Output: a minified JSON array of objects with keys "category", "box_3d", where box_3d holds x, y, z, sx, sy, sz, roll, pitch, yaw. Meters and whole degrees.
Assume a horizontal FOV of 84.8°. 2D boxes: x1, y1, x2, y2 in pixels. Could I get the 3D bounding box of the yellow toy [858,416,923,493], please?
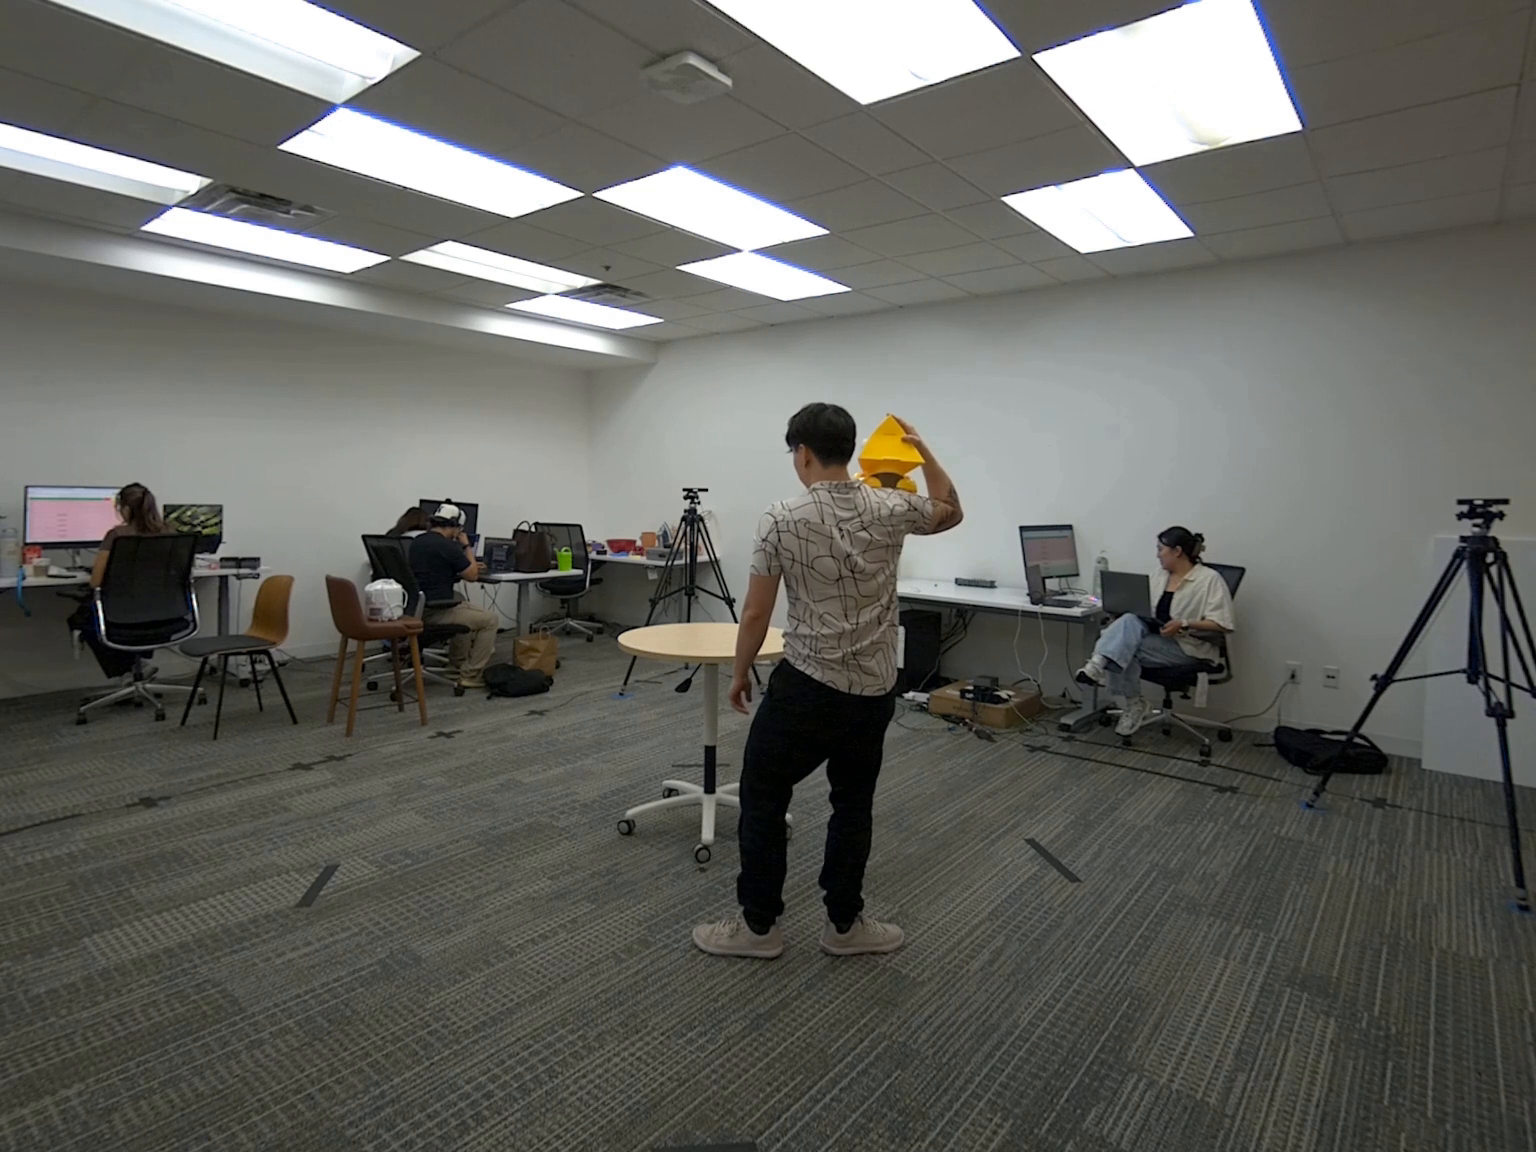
[{"category":"yellow toy","box_3d":[0.357,-0.378,2.656,0.204,0.232,0.192,3,-8,-4]}]
